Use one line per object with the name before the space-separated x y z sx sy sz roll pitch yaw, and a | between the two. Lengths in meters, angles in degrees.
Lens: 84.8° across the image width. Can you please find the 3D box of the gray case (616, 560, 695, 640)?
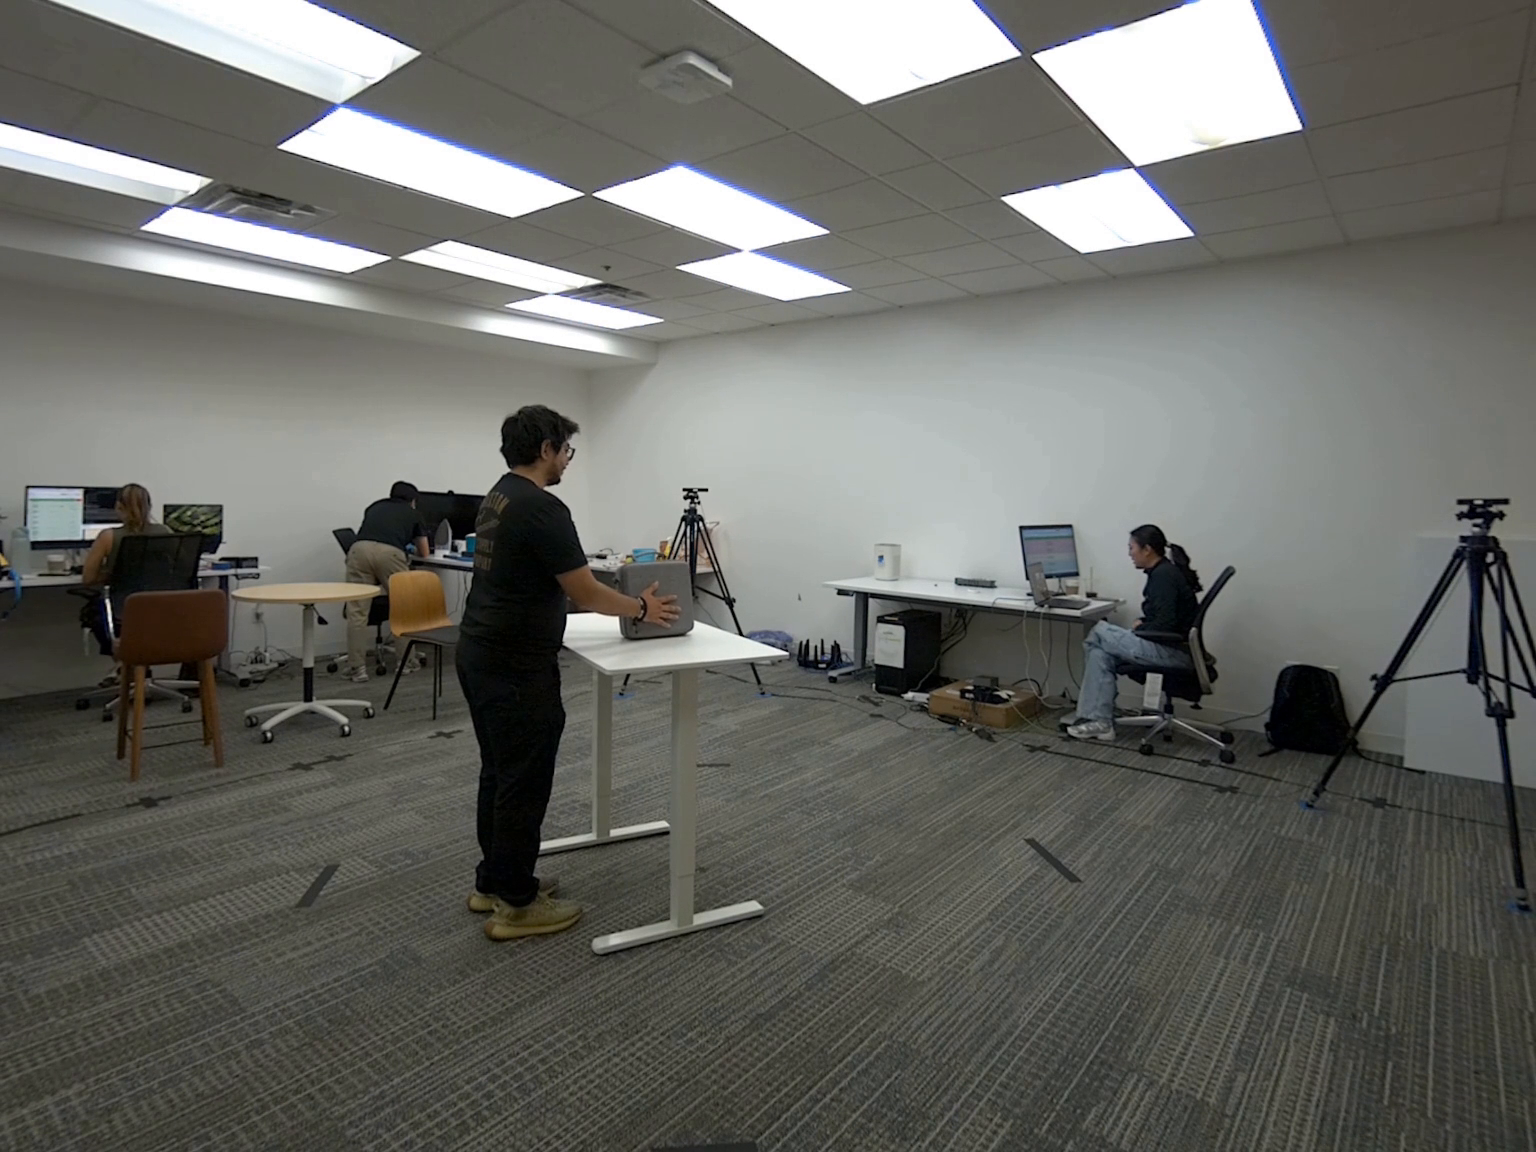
gray case | -0.395 0.074 2.907 0.251 0.262 0.106 -3 -4 -26
